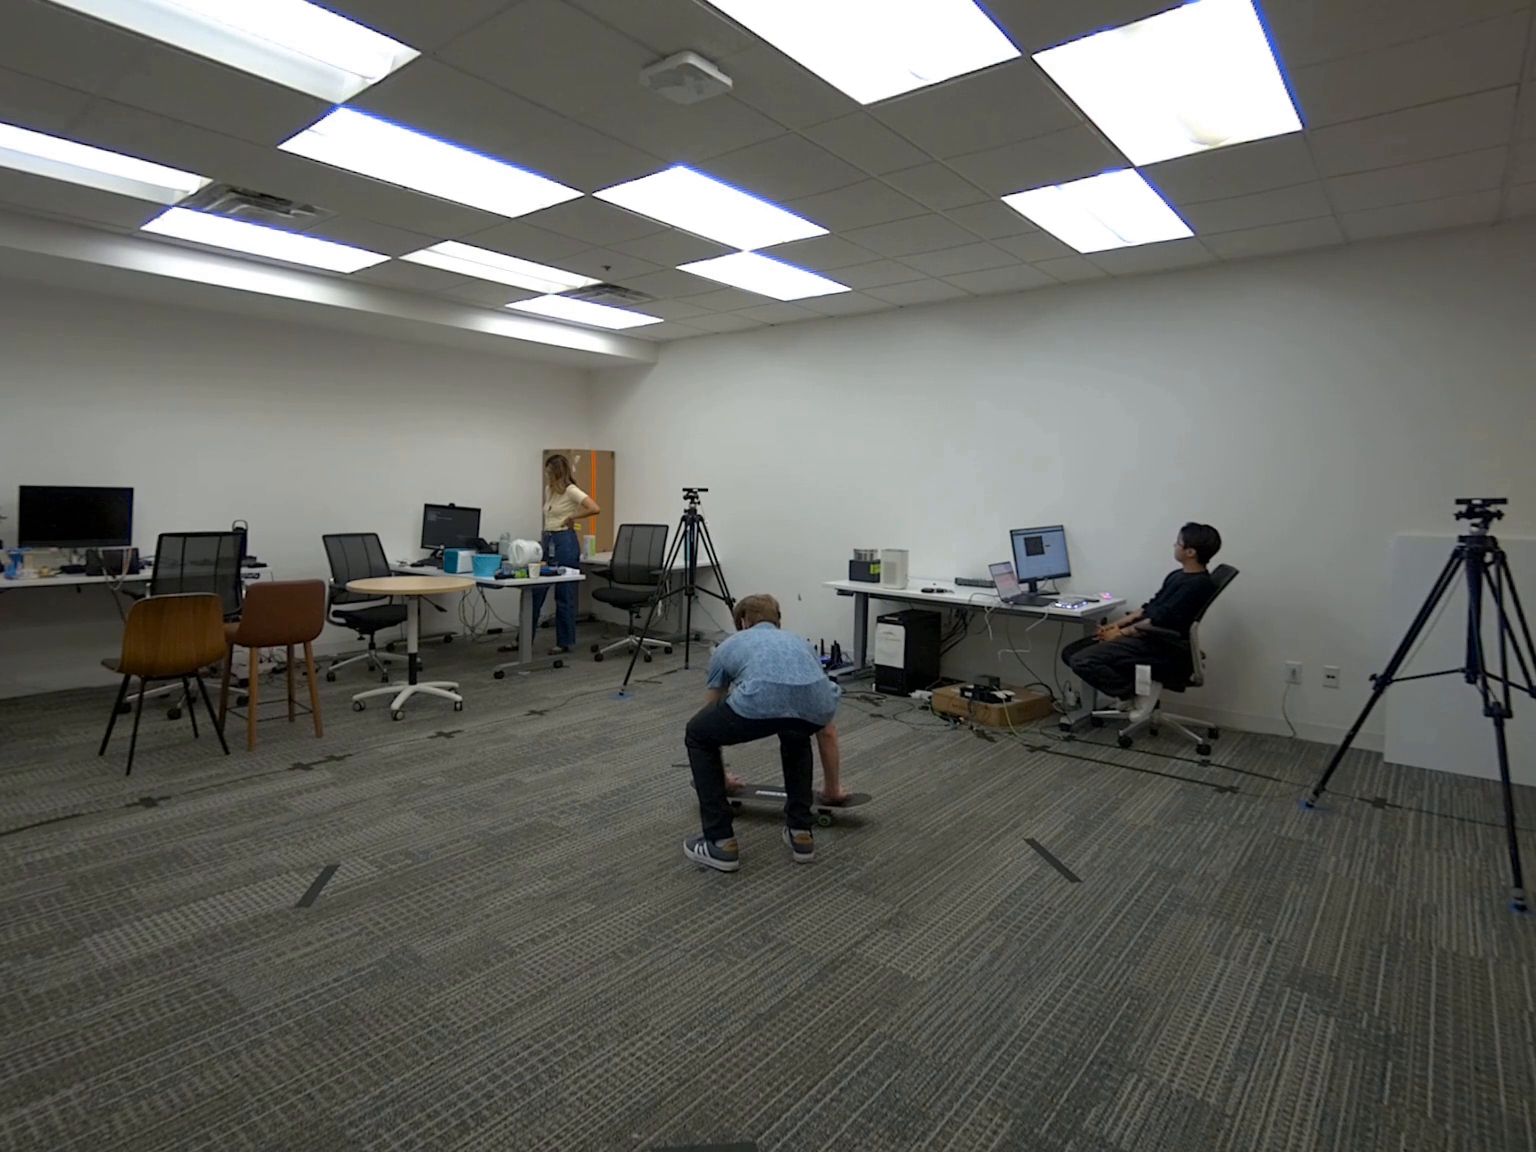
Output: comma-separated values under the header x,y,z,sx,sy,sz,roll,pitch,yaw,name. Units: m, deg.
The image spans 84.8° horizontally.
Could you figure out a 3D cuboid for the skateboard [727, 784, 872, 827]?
x,y,z,sx,sy,sz,roll,pitch,yaw,name
0.043,0.963,3.651,0.796,0.110,0.191,2,5,12,skateboard
